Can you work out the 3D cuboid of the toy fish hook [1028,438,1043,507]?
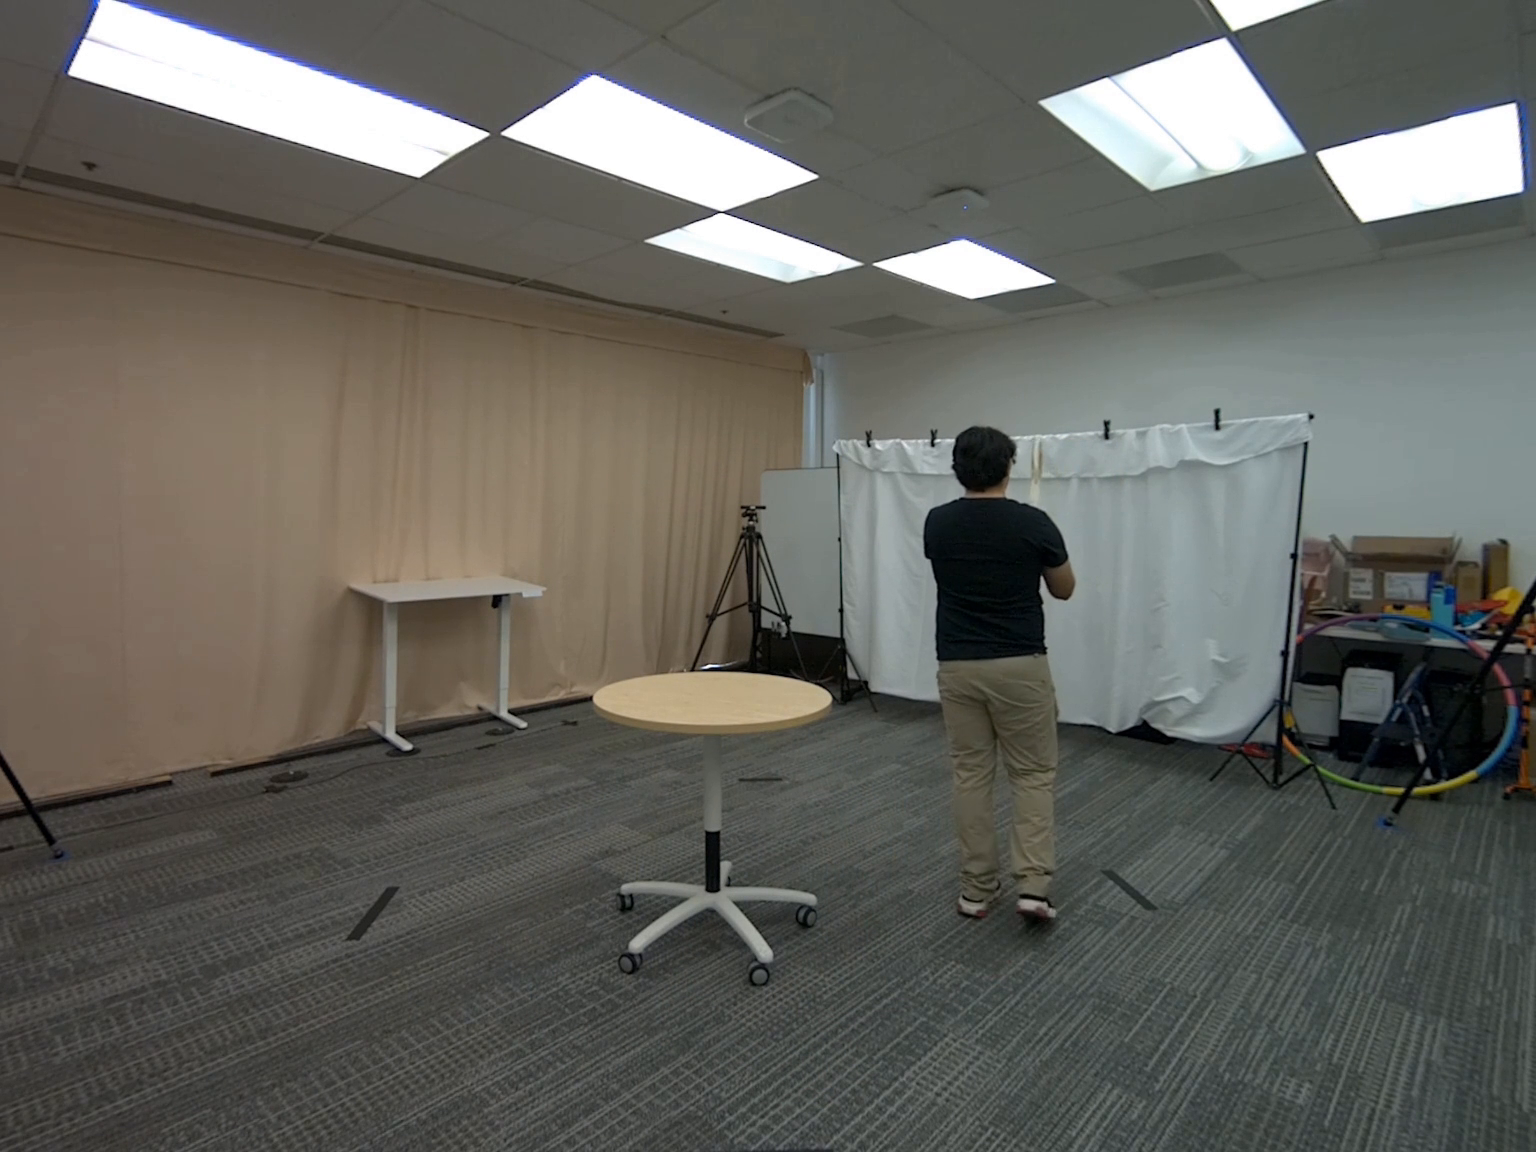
[{"bbox_3d":[1.022,-0.271,3.177,0.049,0.509,0.218,-3,-10,21],"label":"toy fish hook"}]
